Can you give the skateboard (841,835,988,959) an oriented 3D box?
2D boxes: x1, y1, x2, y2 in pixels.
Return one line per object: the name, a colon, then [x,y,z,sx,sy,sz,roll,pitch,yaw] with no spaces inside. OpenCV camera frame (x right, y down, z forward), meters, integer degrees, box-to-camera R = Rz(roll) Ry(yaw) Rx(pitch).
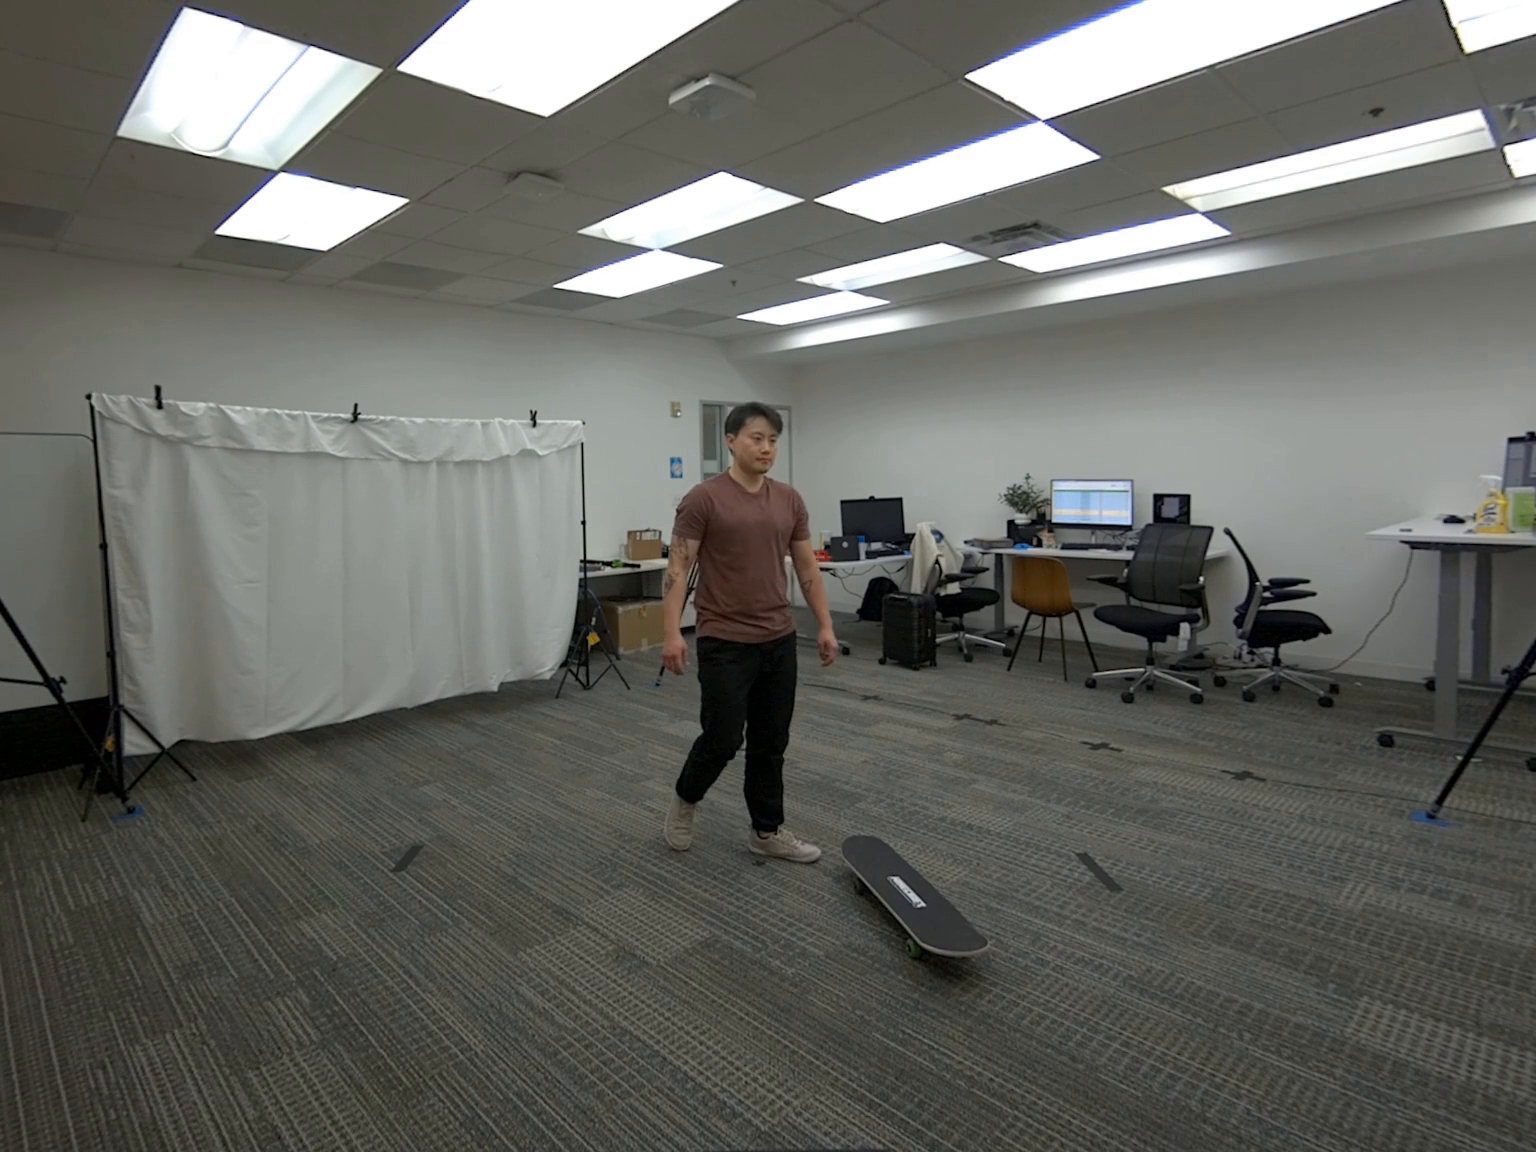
skateboard: [0.451,1.036,2.692,0.191,0.110,0.799,-3,6,-15]
